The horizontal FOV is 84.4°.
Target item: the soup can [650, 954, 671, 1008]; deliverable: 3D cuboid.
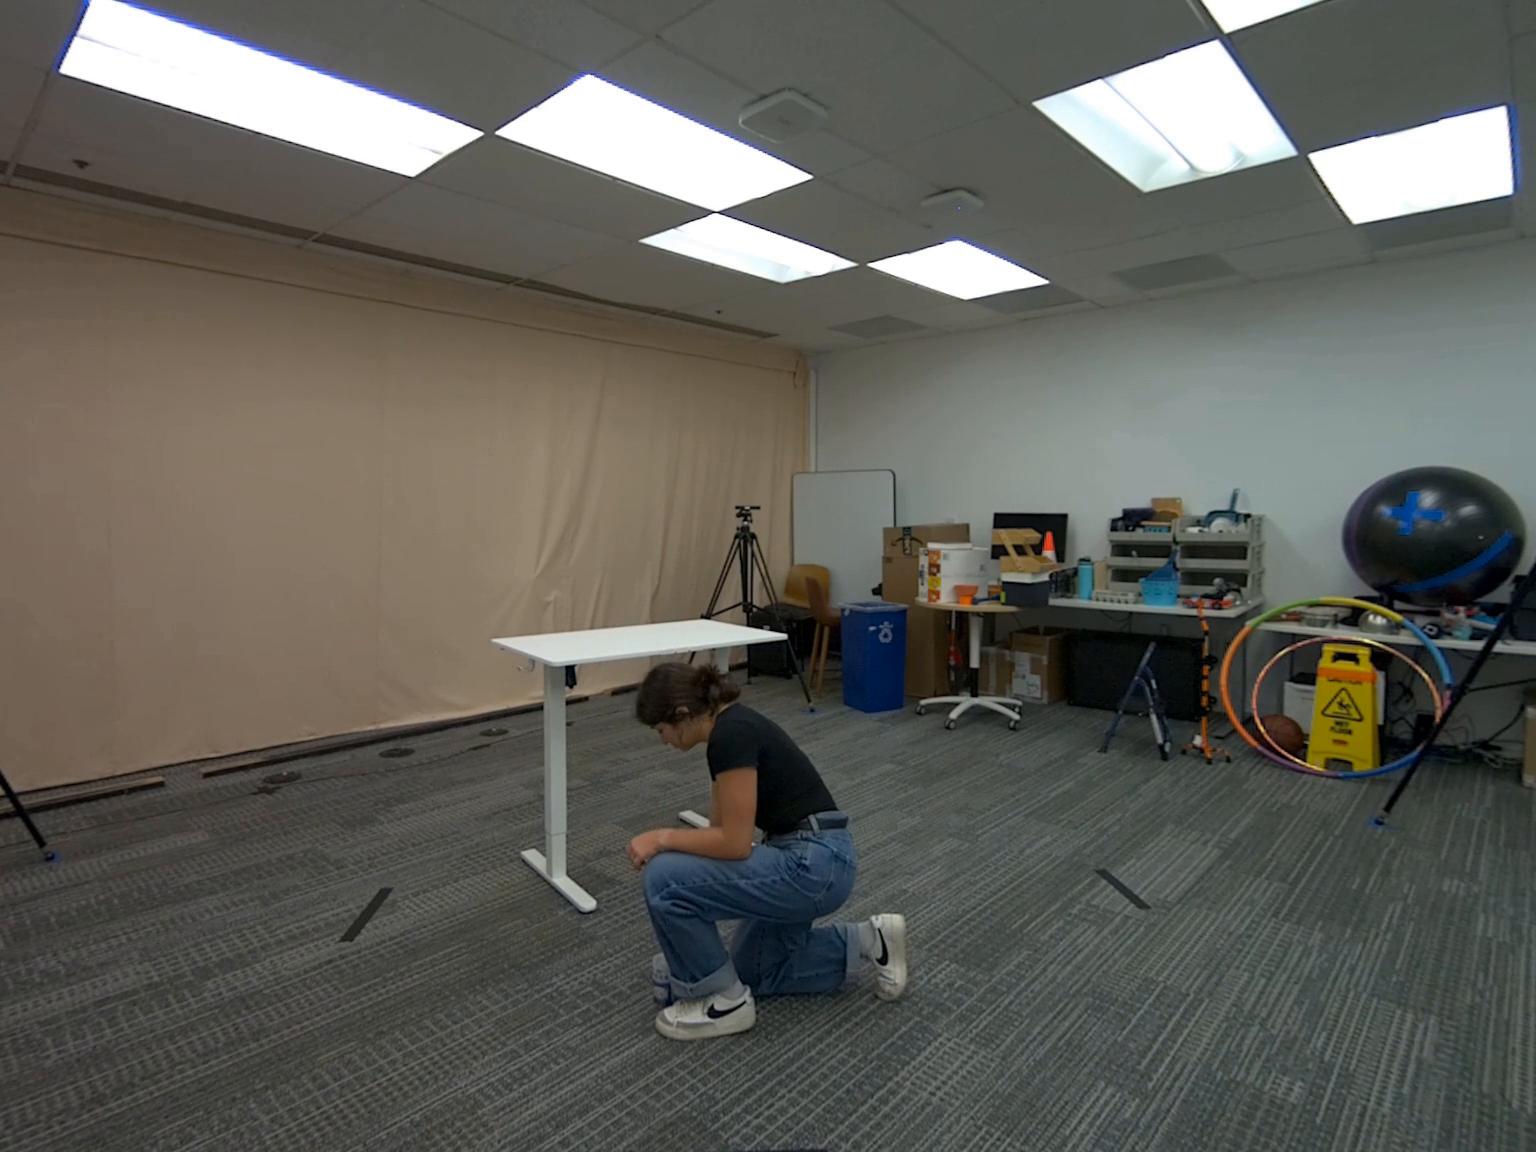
[{"bbox_3d":[-0.292,1.129,2.379,0.067,0.121,0.067,-3,6,-2],"label":"soup can"}]
